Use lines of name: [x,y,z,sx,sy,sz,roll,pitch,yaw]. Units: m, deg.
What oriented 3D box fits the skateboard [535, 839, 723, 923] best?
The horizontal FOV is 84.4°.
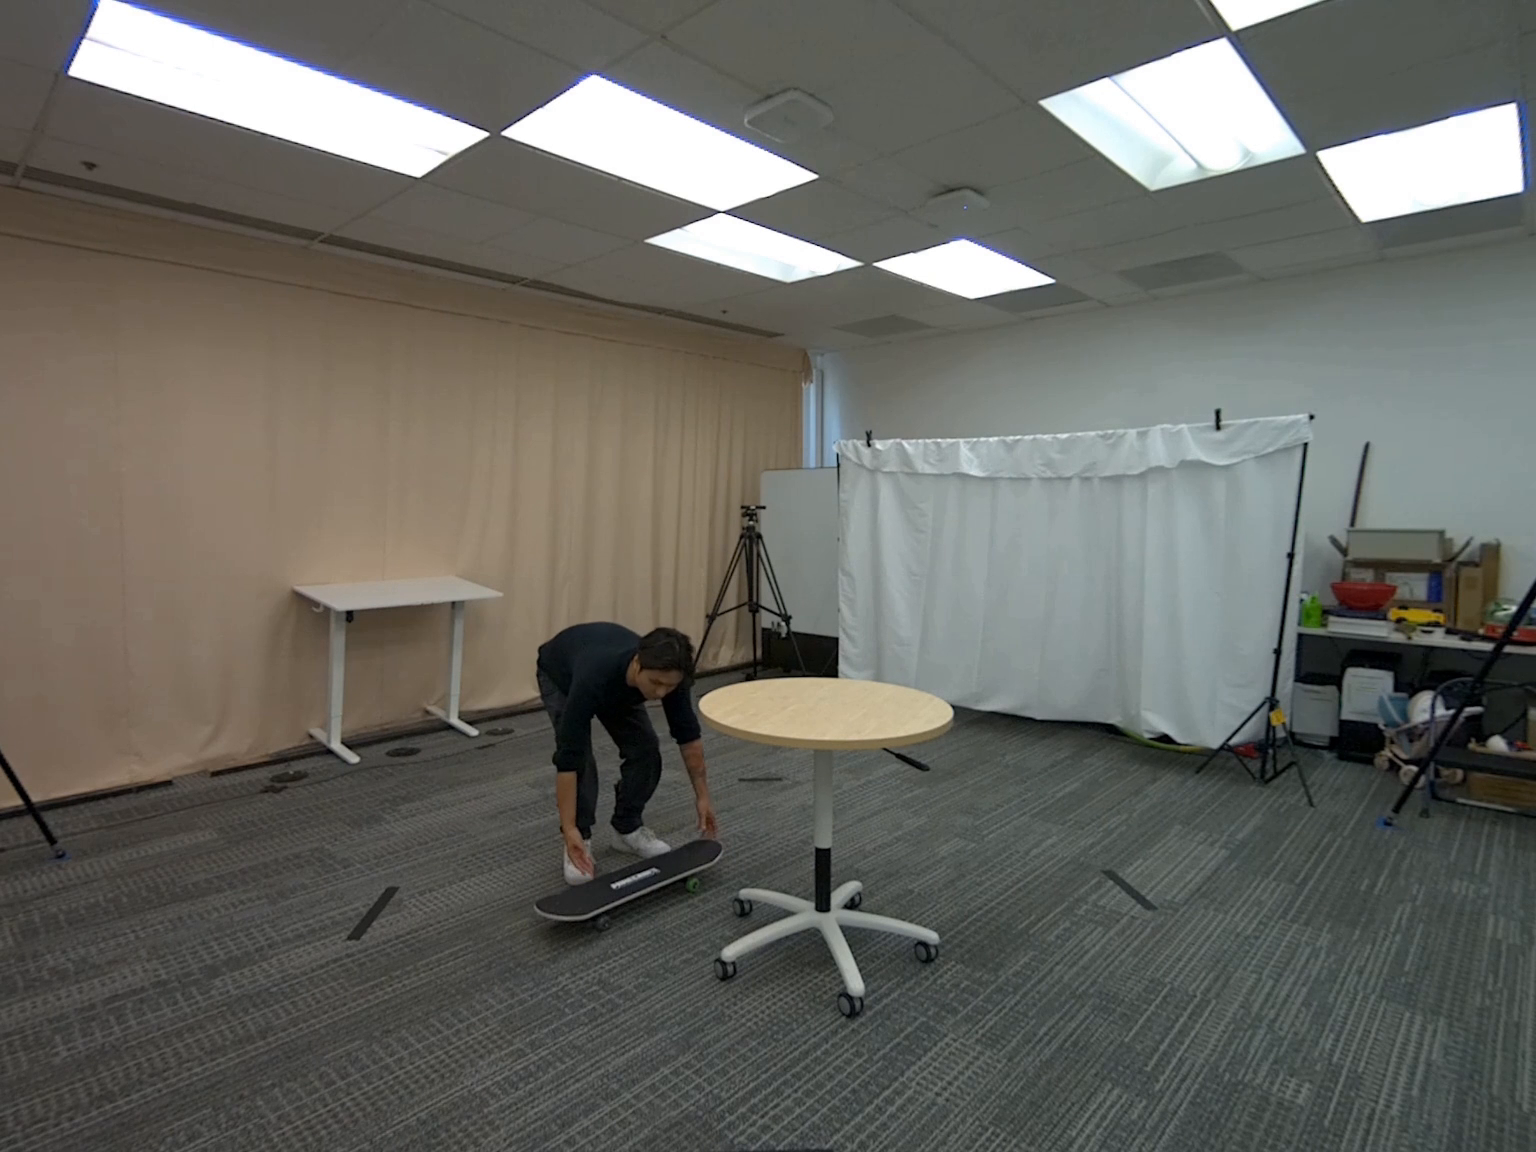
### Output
skateboard: [-0.472,1.094,2.956,0.761,0.110,0.200,-4,6,-45]
